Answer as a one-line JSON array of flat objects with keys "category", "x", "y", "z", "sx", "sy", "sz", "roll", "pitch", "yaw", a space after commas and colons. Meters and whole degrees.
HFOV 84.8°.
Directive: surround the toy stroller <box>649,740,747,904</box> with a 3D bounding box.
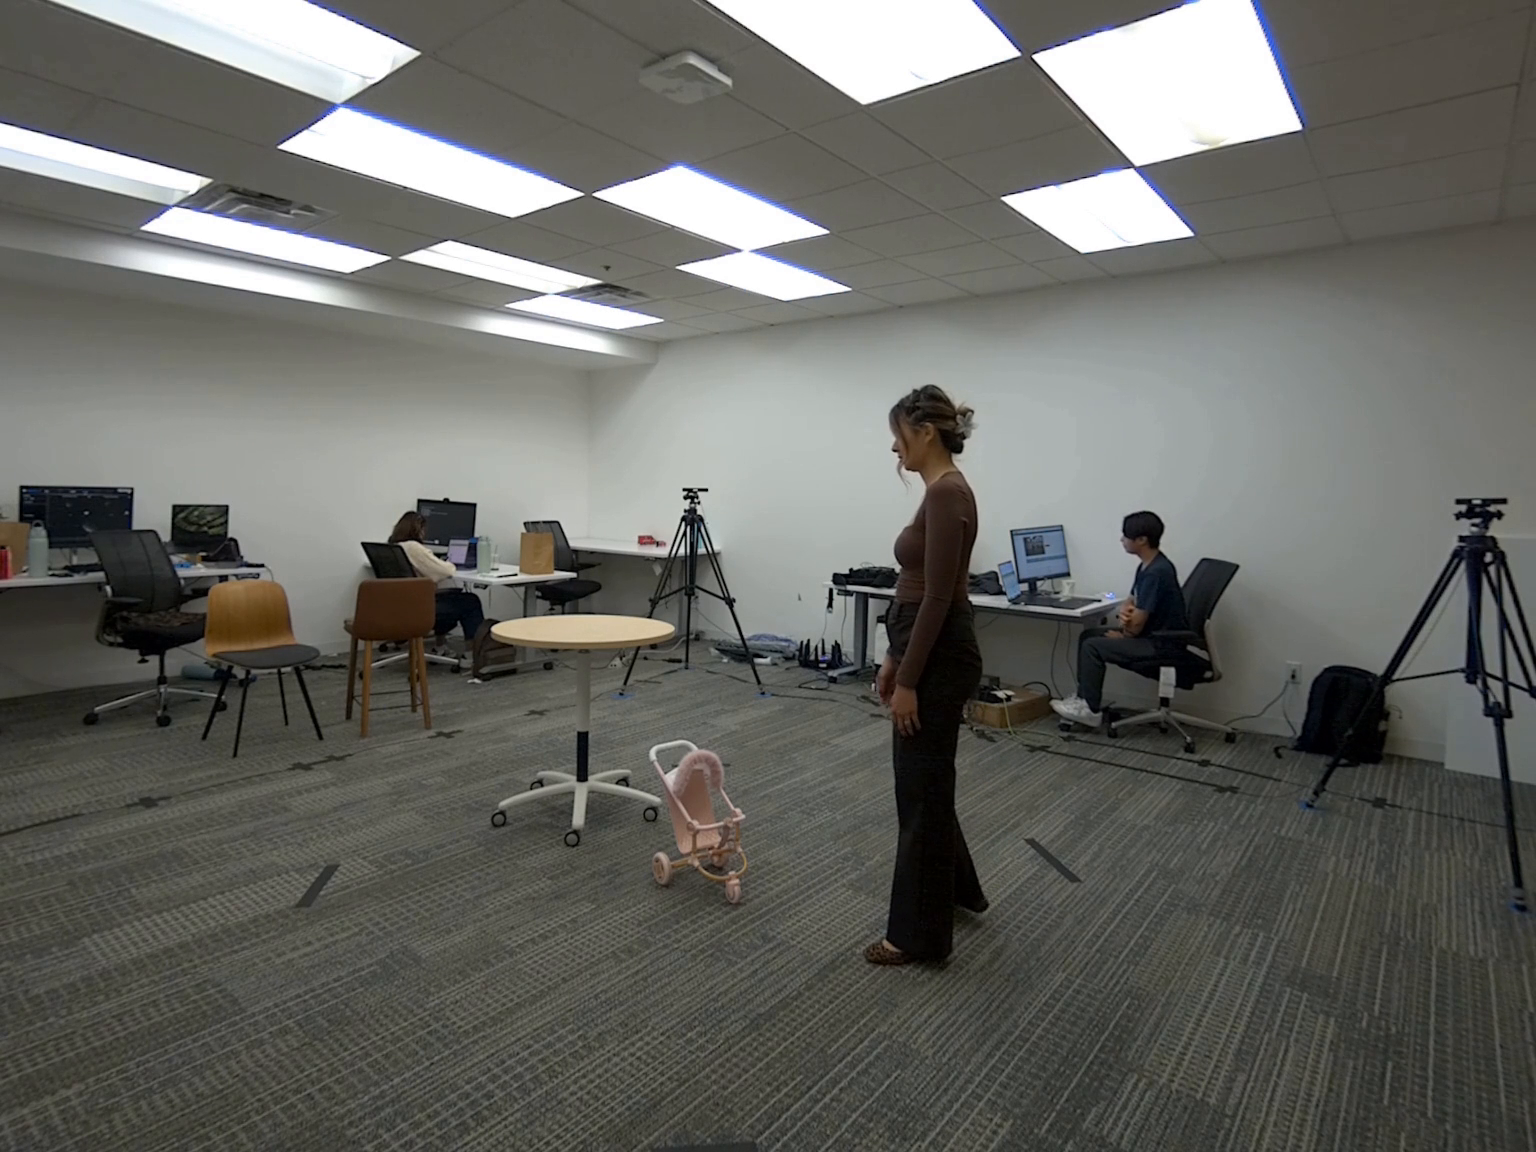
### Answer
[{"category": "toy stroller", "x": -0.243, "y": 0.852, "z": 2.997, "sx": 0.273, "sy": 0.541, "sz": 0.348, "roll": -1, "pitch": -11, "yaw": -35}]
